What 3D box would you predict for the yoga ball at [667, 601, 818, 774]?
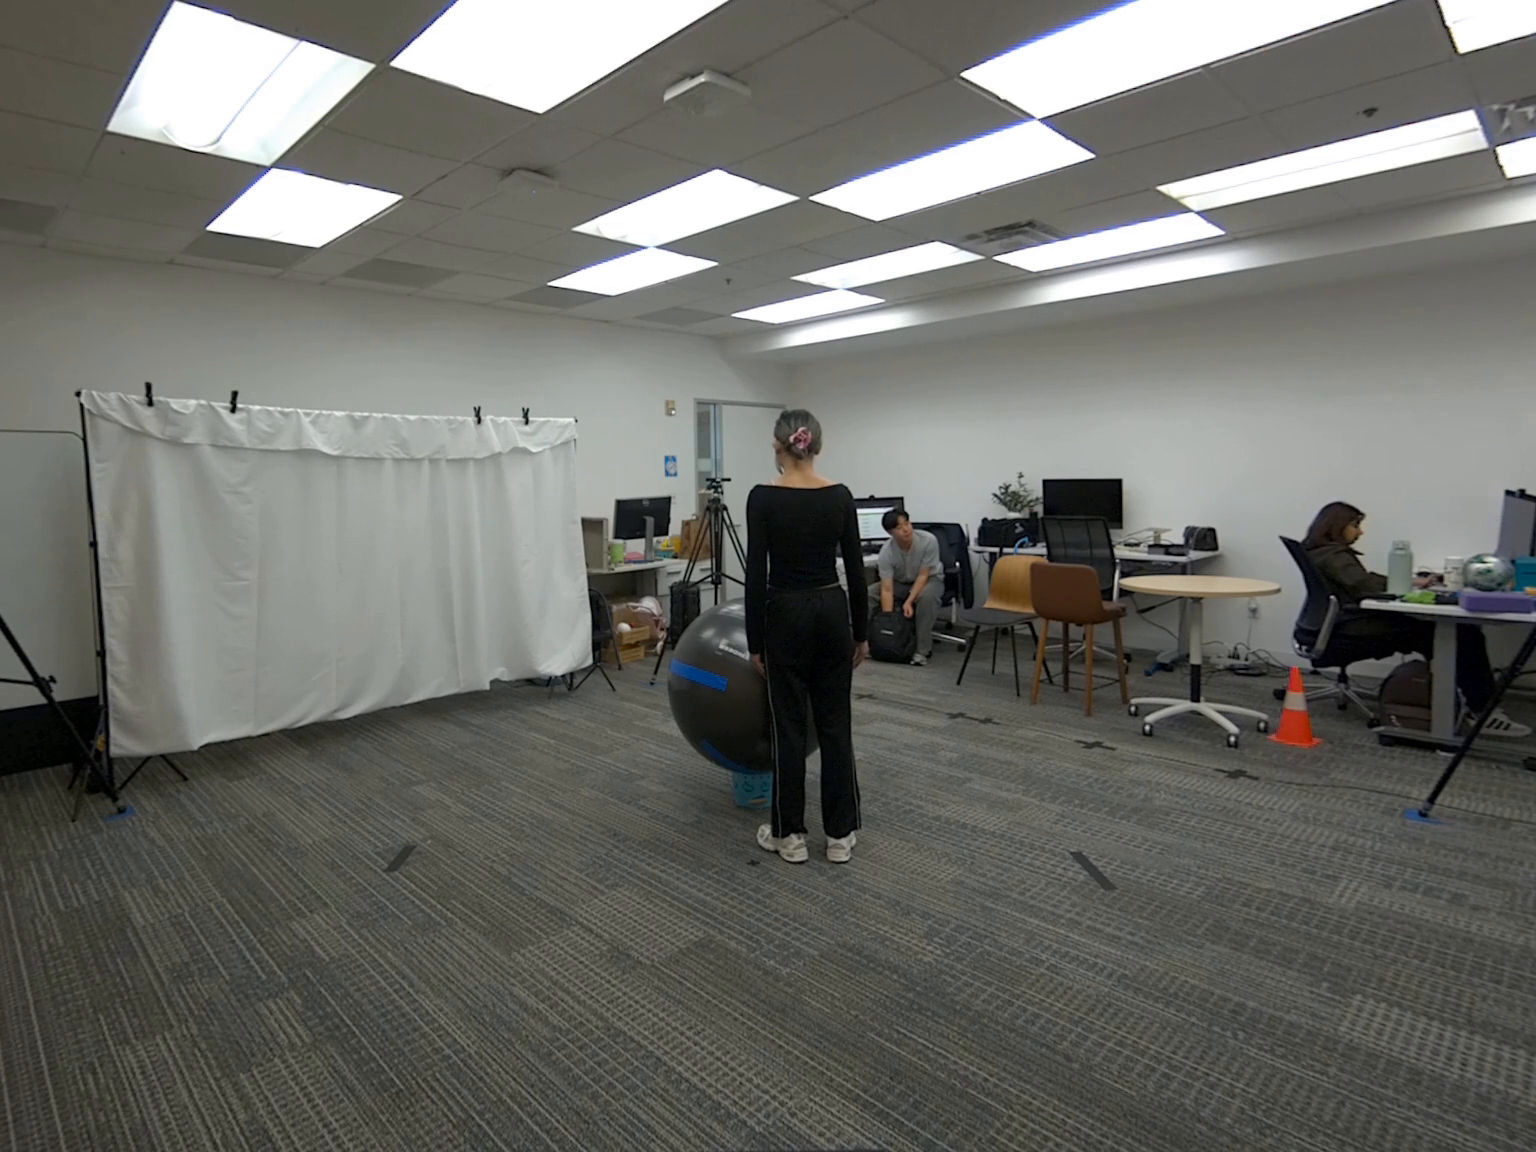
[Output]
[{"bbox_3d":[-0.057,0.467,3.687,0.757,0.755,0.762,-1,5,-2],"label":"yoga ball"}]
